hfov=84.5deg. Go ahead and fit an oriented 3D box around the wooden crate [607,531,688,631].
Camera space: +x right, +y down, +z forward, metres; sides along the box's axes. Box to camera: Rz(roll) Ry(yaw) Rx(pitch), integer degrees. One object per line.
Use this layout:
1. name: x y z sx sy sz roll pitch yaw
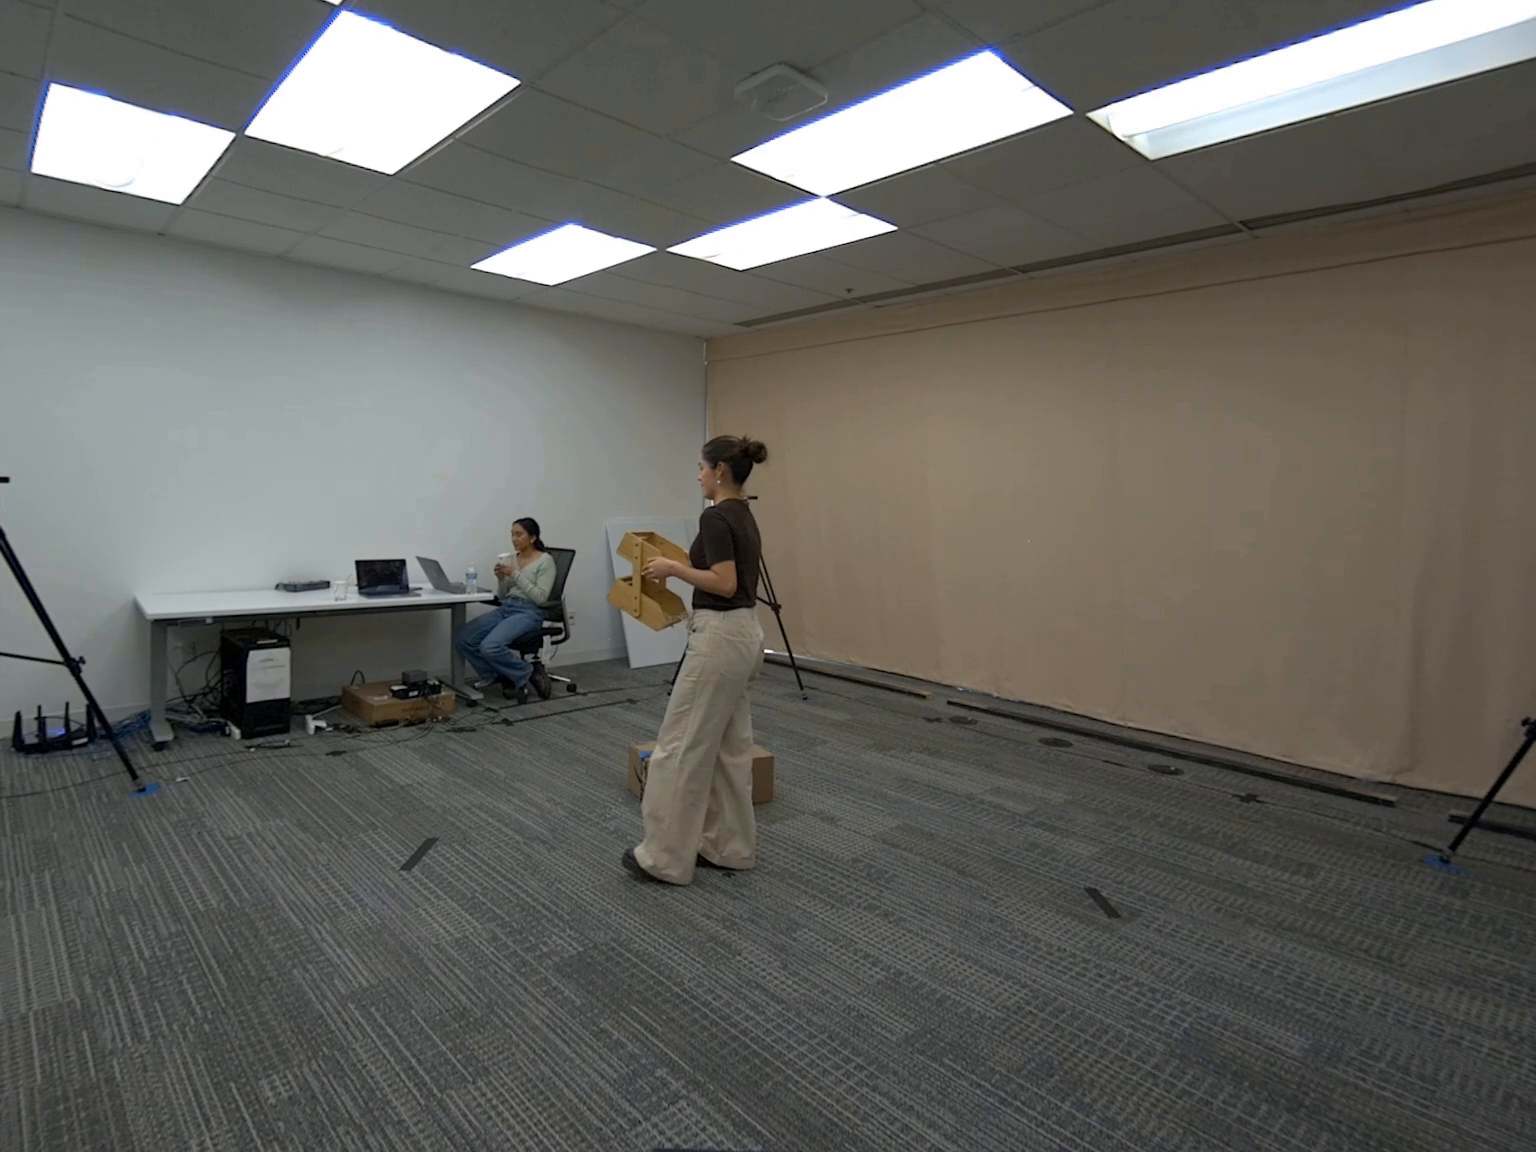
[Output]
1. wooden crate: -0.433 0.014 3.194 0.305 0.272 0.322 31 11 10
